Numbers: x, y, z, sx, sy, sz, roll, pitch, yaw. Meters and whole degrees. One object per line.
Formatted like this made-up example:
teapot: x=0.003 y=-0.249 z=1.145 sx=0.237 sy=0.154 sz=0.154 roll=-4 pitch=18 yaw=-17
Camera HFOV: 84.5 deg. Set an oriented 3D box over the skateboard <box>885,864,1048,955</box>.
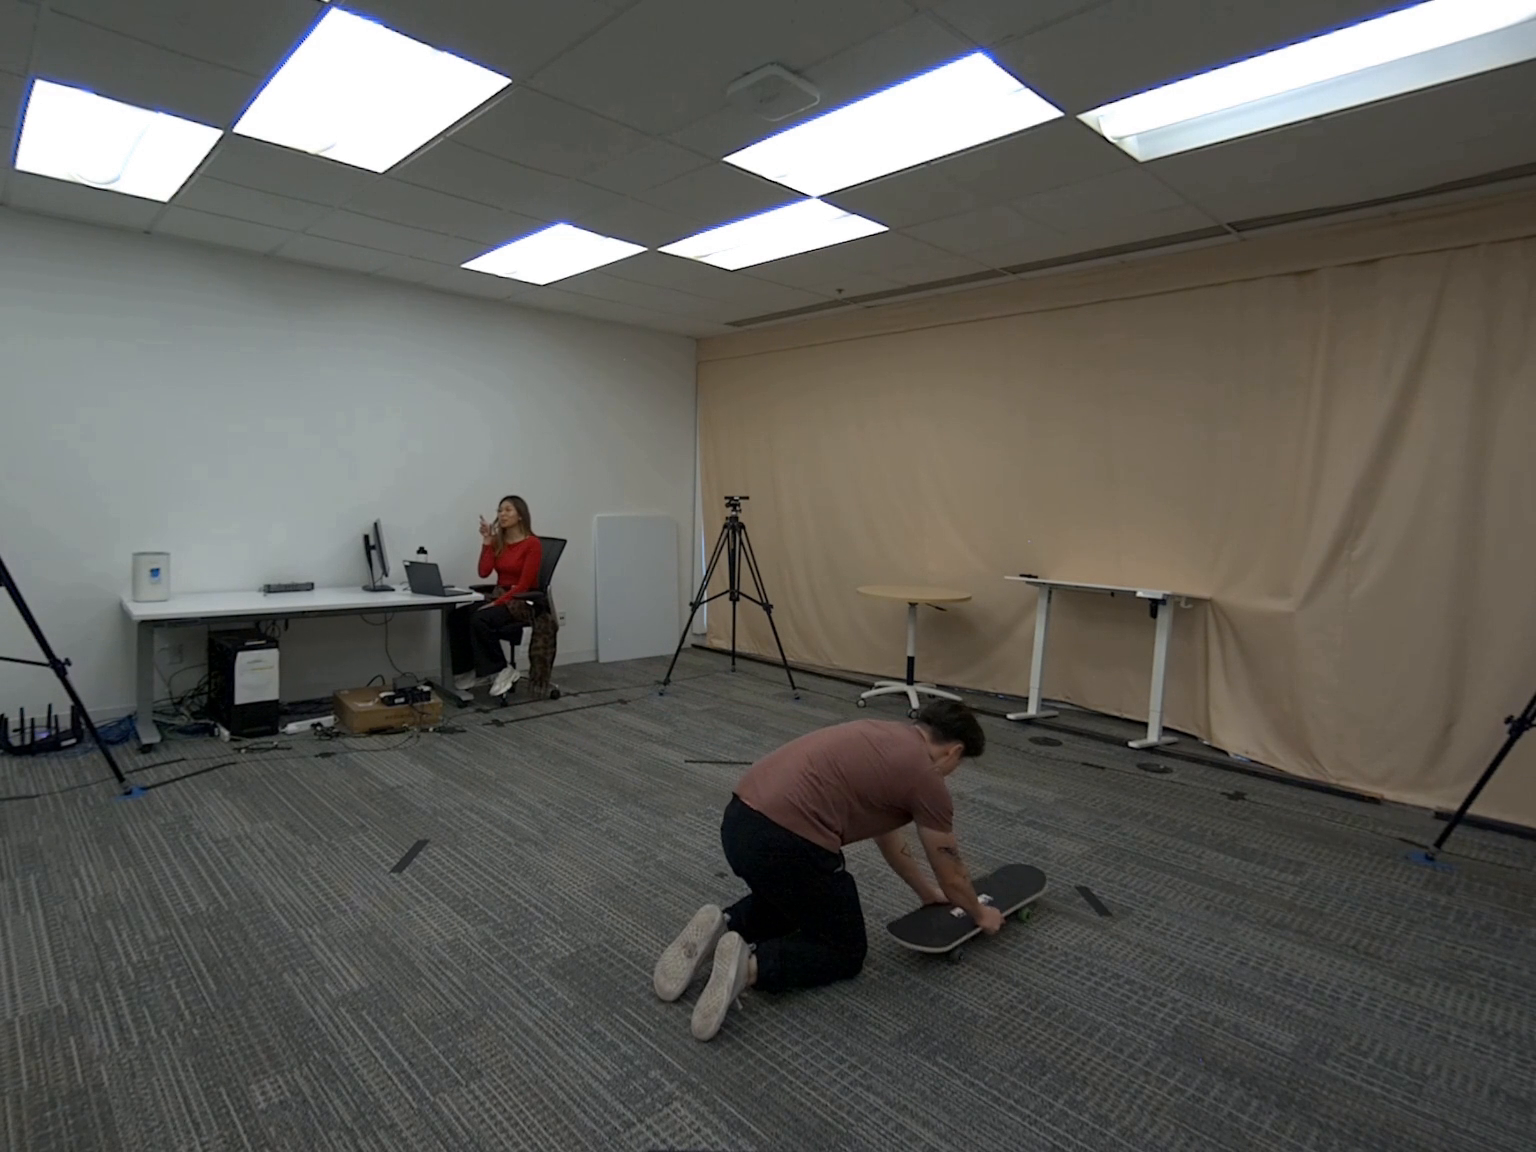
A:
skateboard: x=0.652 y=1.102 z=2.742 sx=0.768 sy=0.110 sz=0.198 roll=-4 pitch=7 yaw=-42
